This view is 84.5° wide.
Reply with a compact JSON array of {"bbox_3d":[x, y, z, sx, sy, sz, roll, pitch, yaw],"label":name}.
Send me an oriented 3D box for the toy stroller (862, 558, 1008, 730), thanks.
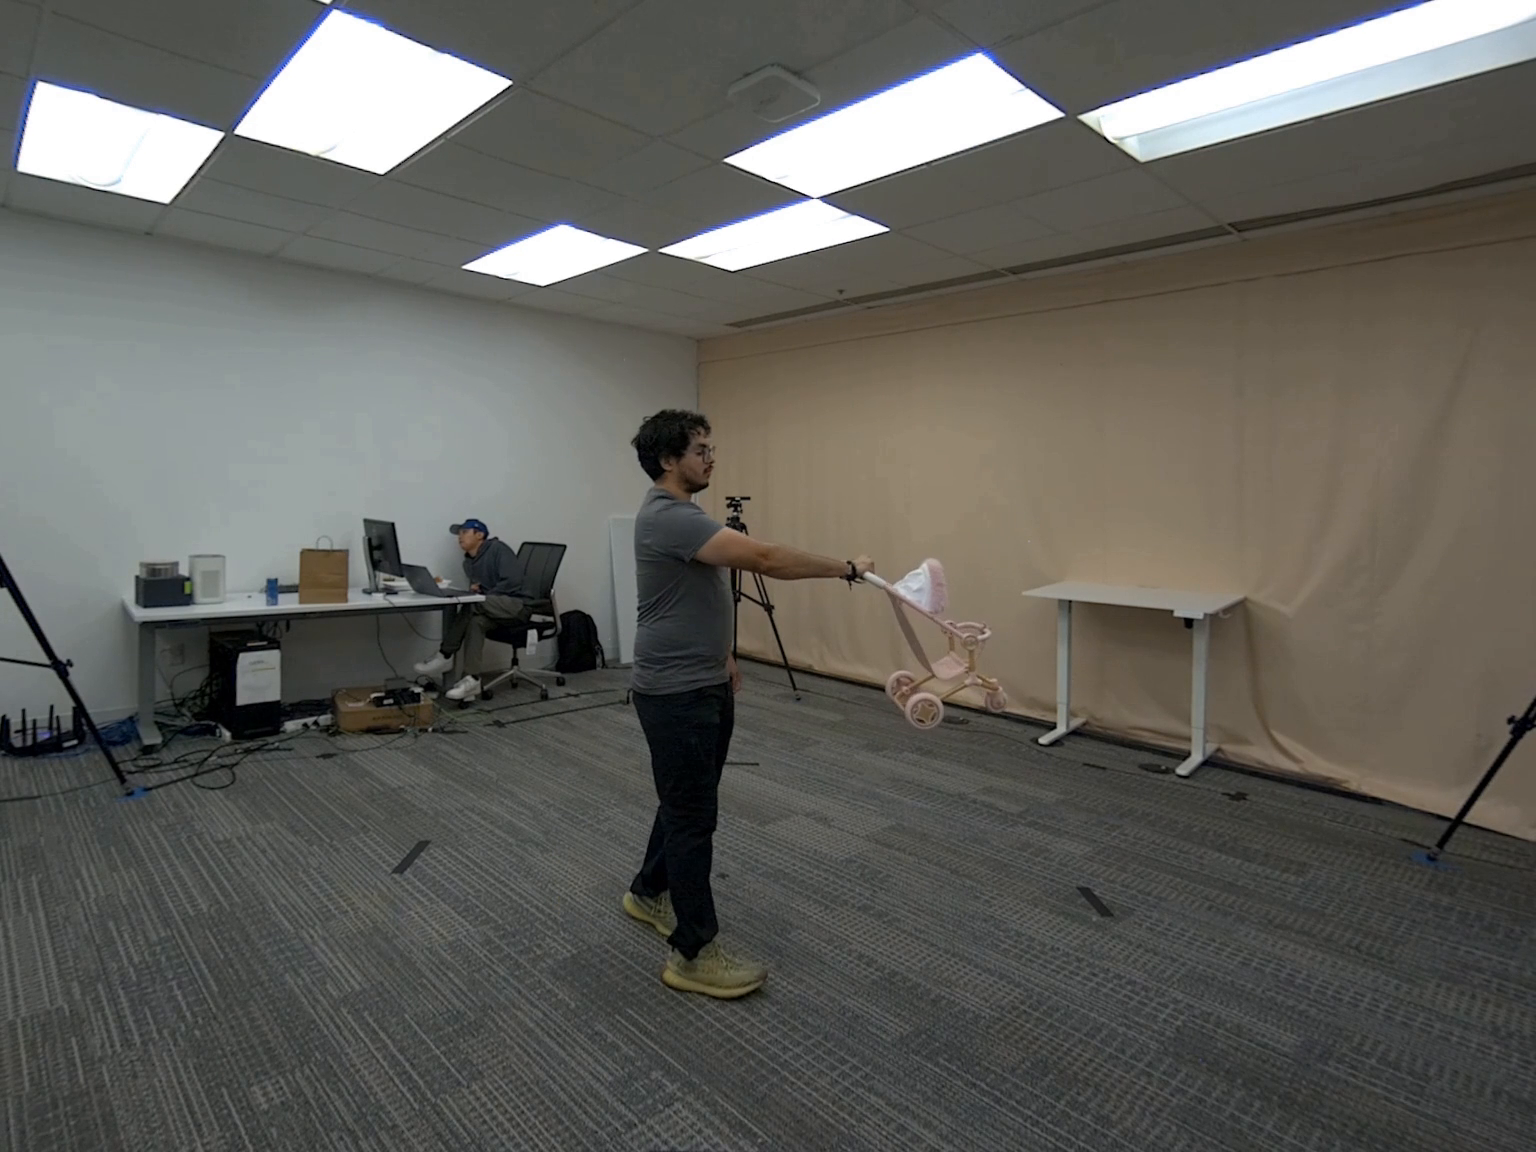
[{"bbox_3d":[0.495,0.192,2.476,0.342,0.532,0.282,-15,6,2],"label":"toy stroller"}]
